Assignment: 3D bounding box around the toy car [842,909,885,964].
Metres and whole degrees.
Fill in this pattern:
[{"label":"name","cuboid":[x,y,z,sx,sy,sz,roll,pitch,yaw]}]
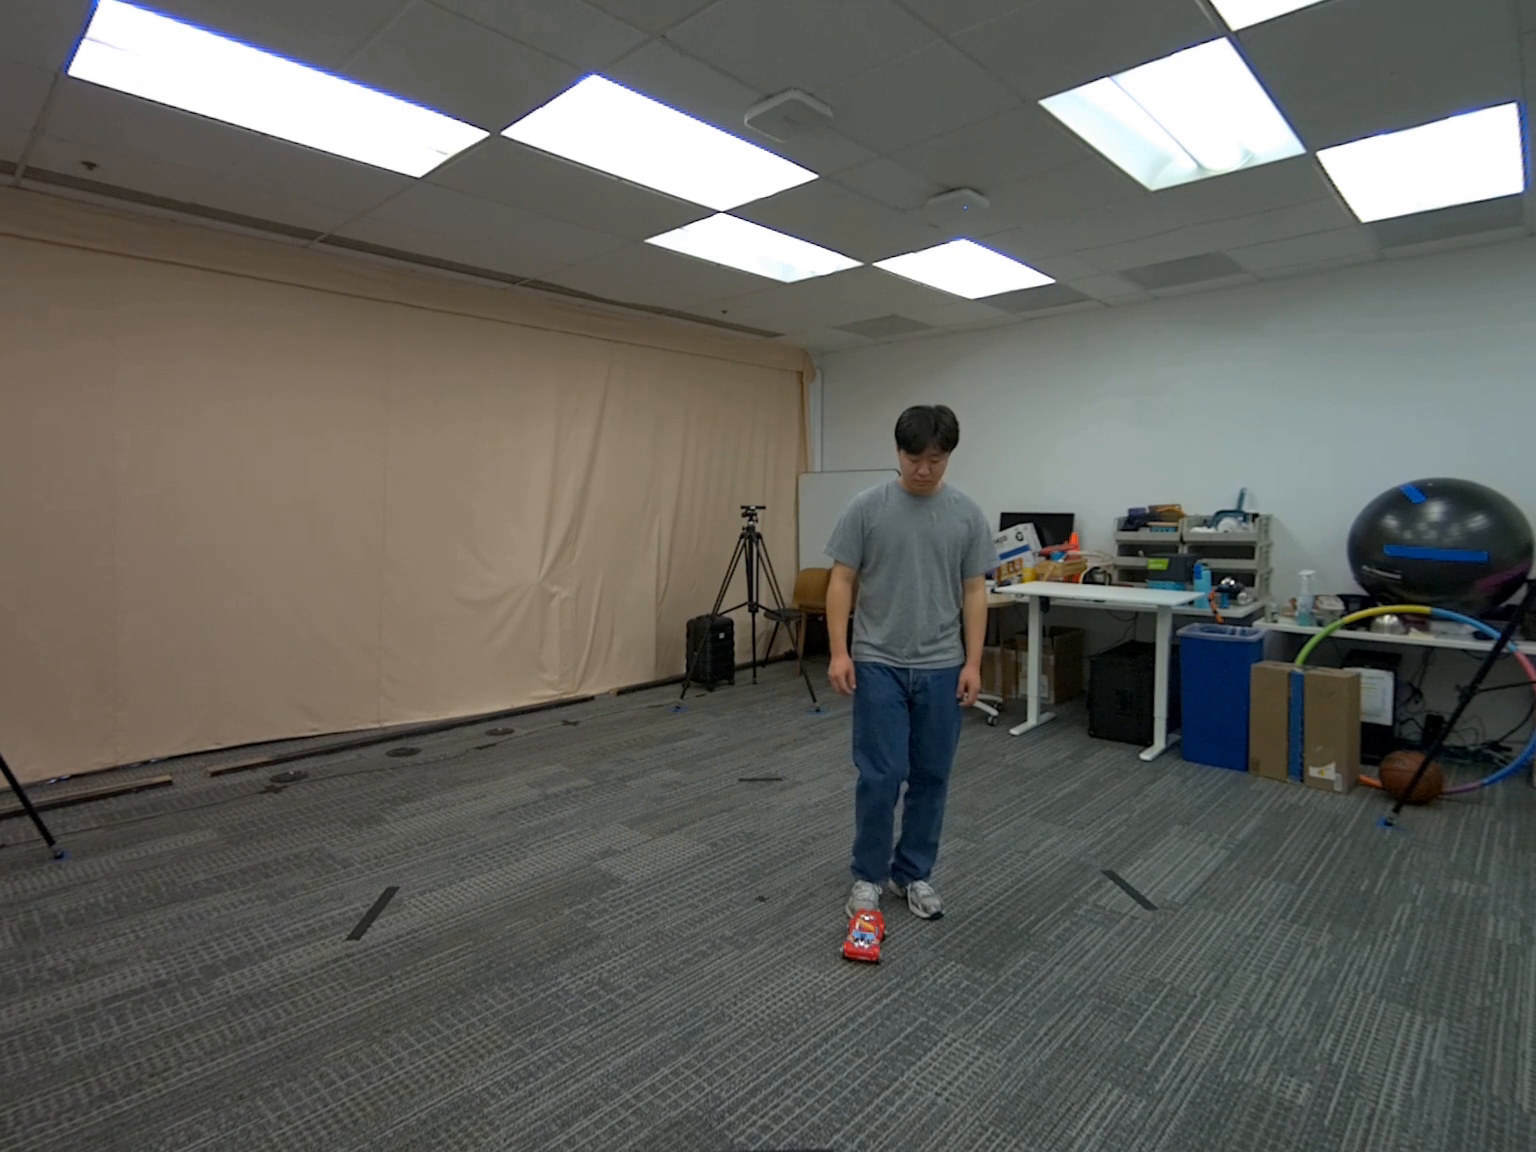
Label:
[{"label":"toy car","cuboid":[0.314,1.139,2.653,0.132,0.082,0.253,1,16,15]}]
